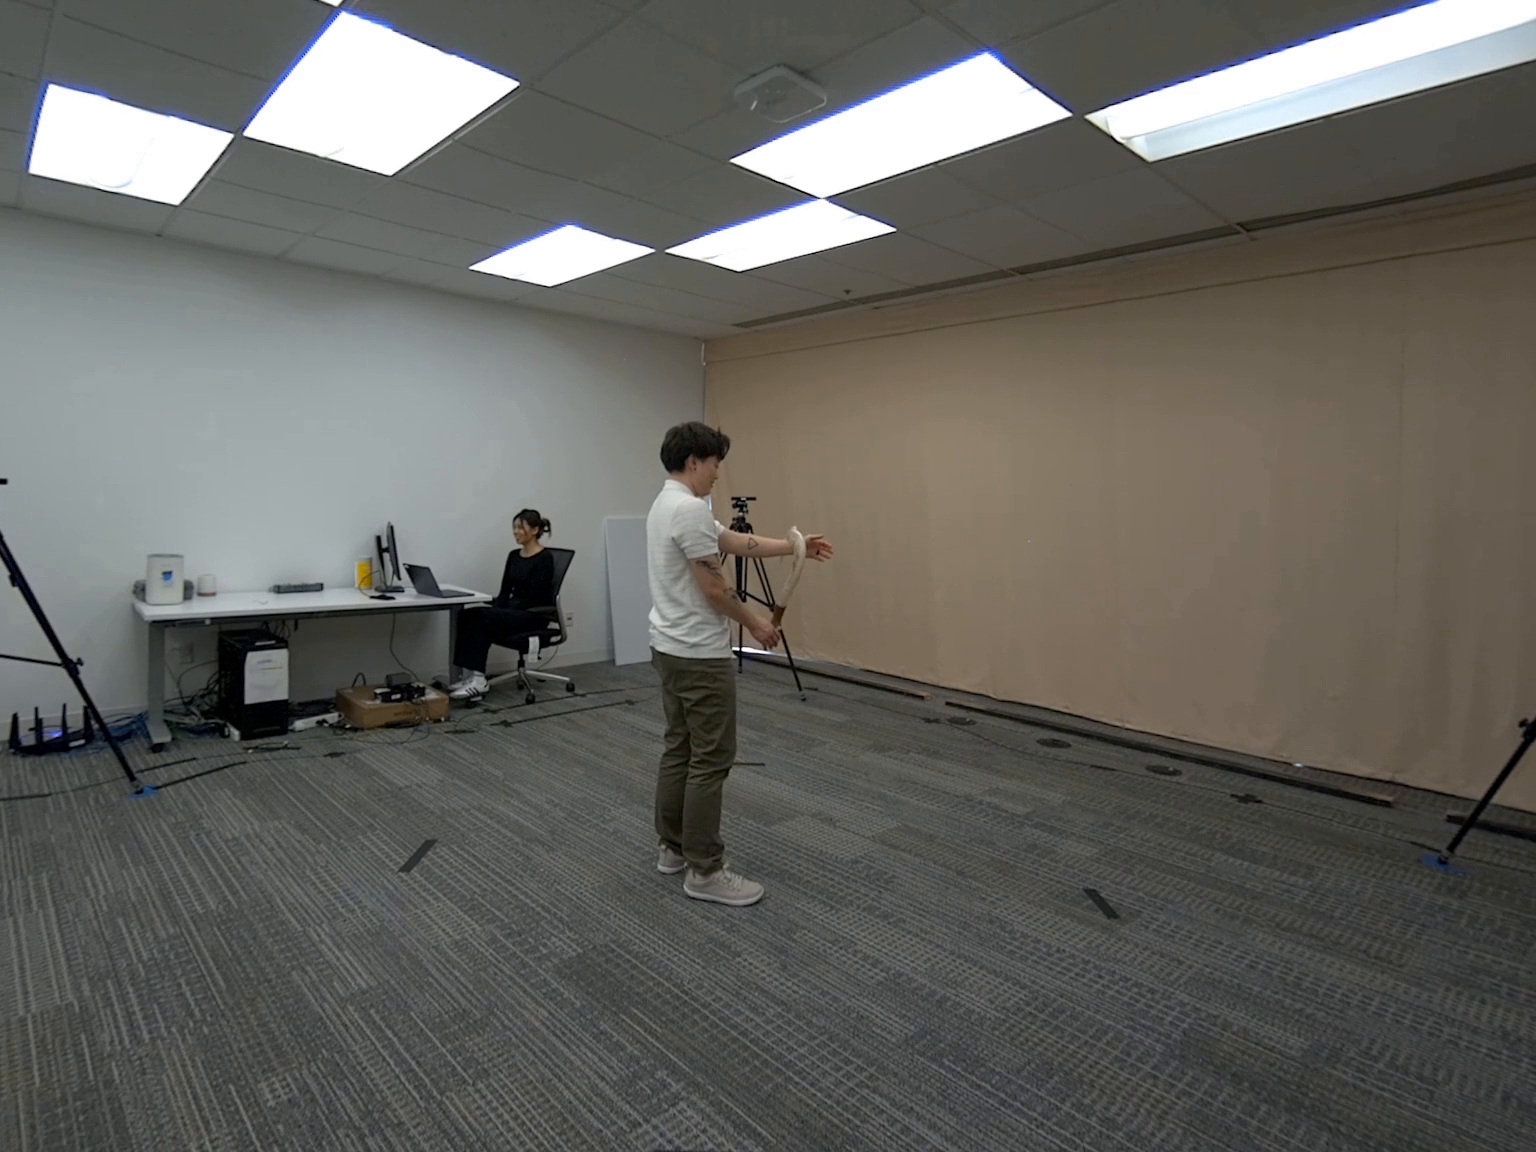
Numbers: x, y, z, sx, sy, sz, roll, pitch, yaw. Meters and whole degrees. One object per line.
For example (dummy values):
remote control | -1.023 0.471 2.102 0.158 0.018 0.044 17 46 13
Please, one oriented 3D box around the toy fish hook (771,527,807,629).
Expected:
toy fish hook | 0.060 0.048 3.384 0.048 0.501 0.230 10 24 -14
